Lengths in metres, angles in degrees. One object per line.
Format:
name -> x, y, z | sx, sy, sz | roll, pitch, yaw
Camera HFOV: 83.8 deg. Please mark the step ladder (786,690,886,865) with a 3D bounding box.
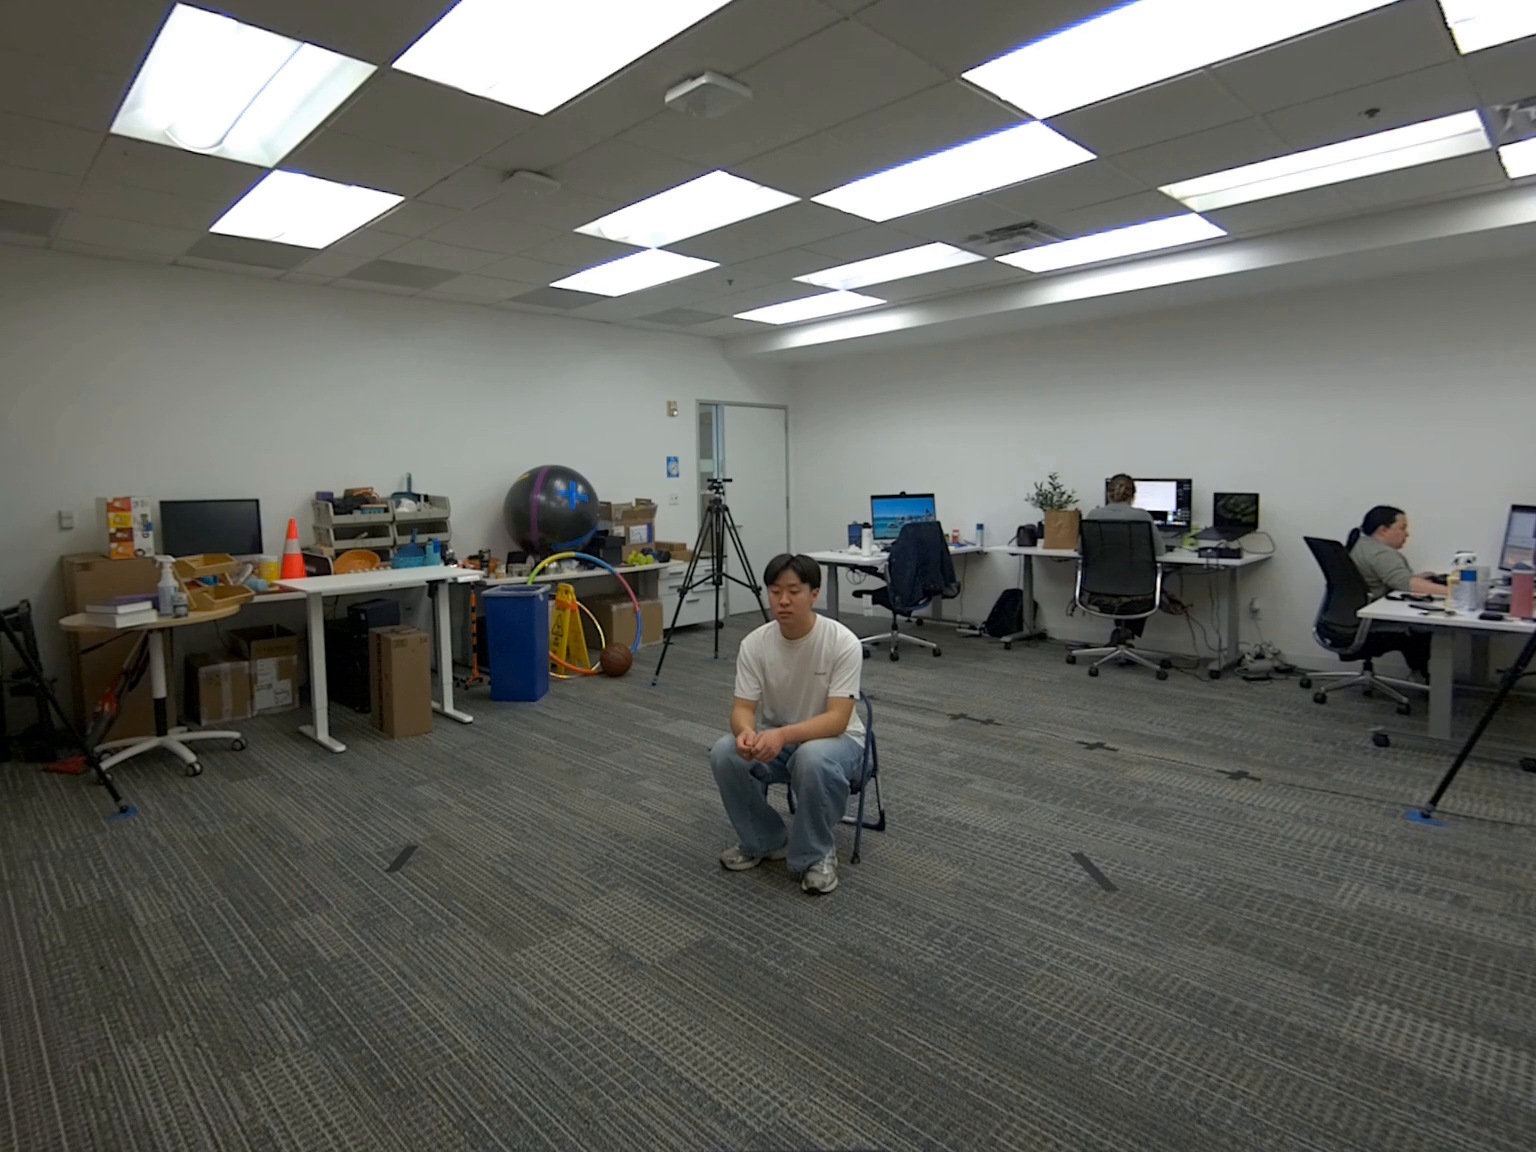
step ladder -> 0.214, 0.717, 3.327 | 0.442, 0.604, 0.342 | 2, 5, 28
